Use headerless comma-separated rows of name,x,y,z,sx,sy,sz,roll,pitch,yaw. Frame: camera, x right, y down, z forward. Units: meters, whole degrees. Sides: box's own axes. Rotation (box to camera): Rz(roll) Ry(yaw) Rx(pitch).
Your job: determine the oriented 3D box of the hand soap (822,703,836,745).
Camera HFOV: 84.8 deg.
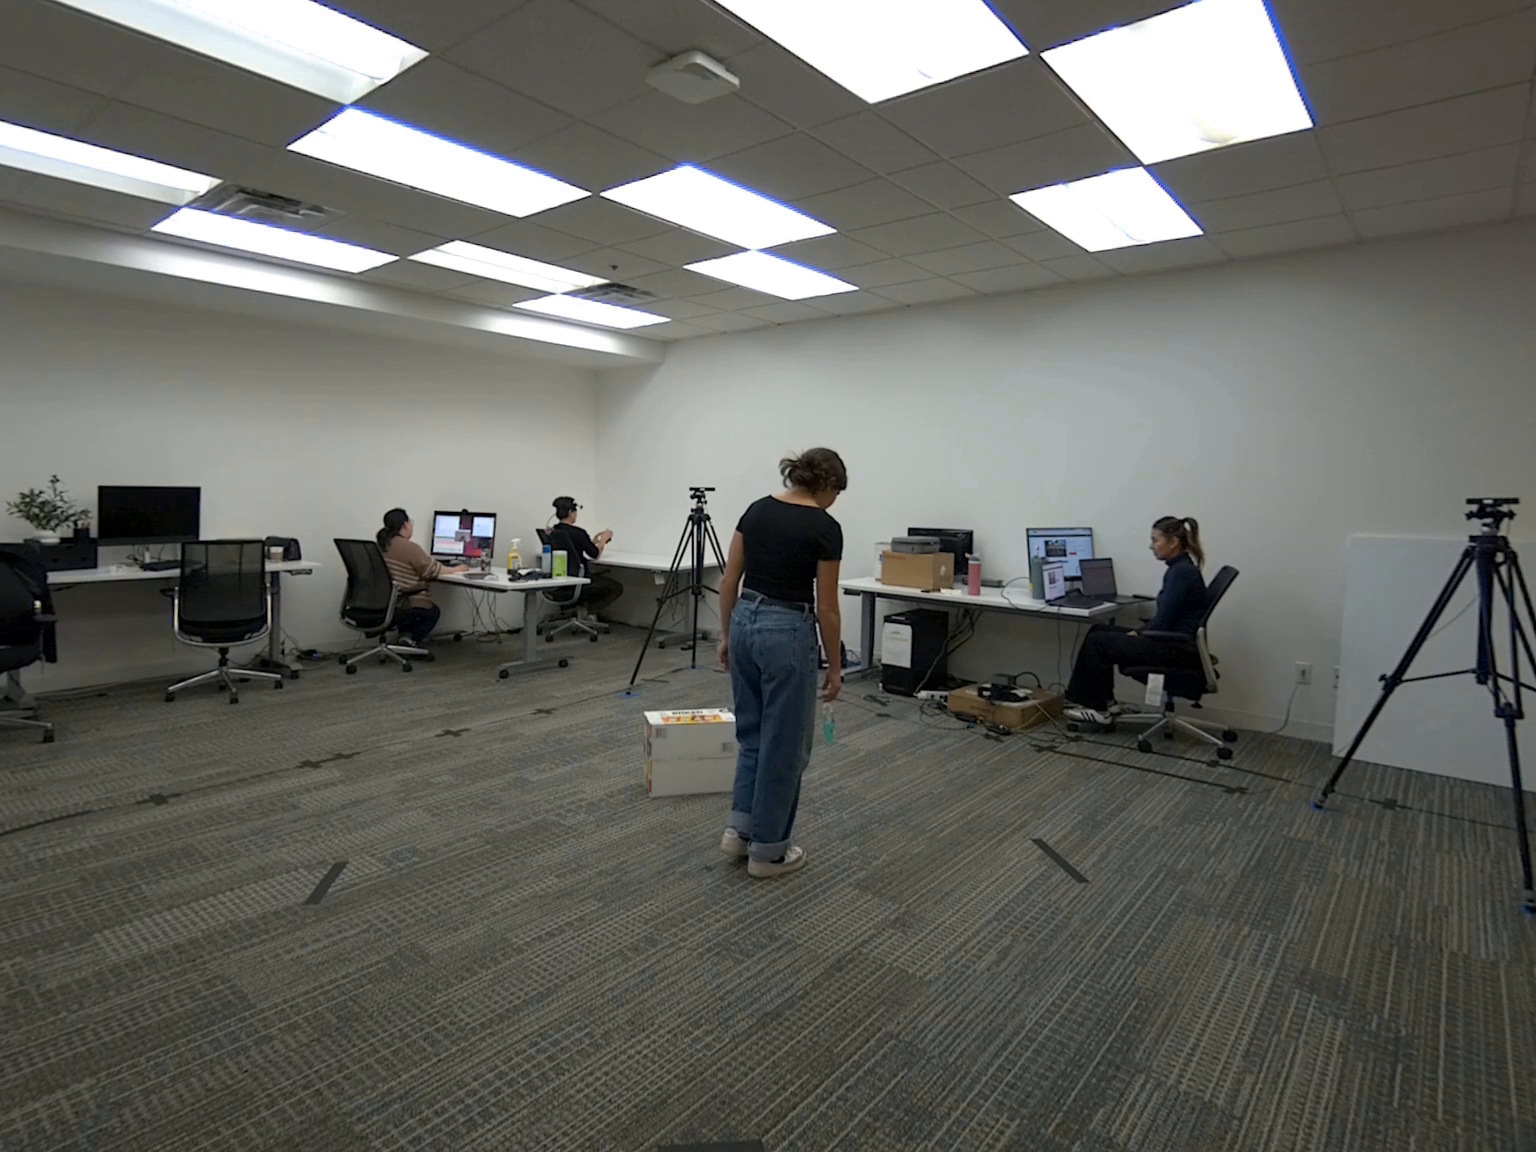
hand soap,0.212,0.522,3.105,0.044,0.168,0.083,-5,1,21
